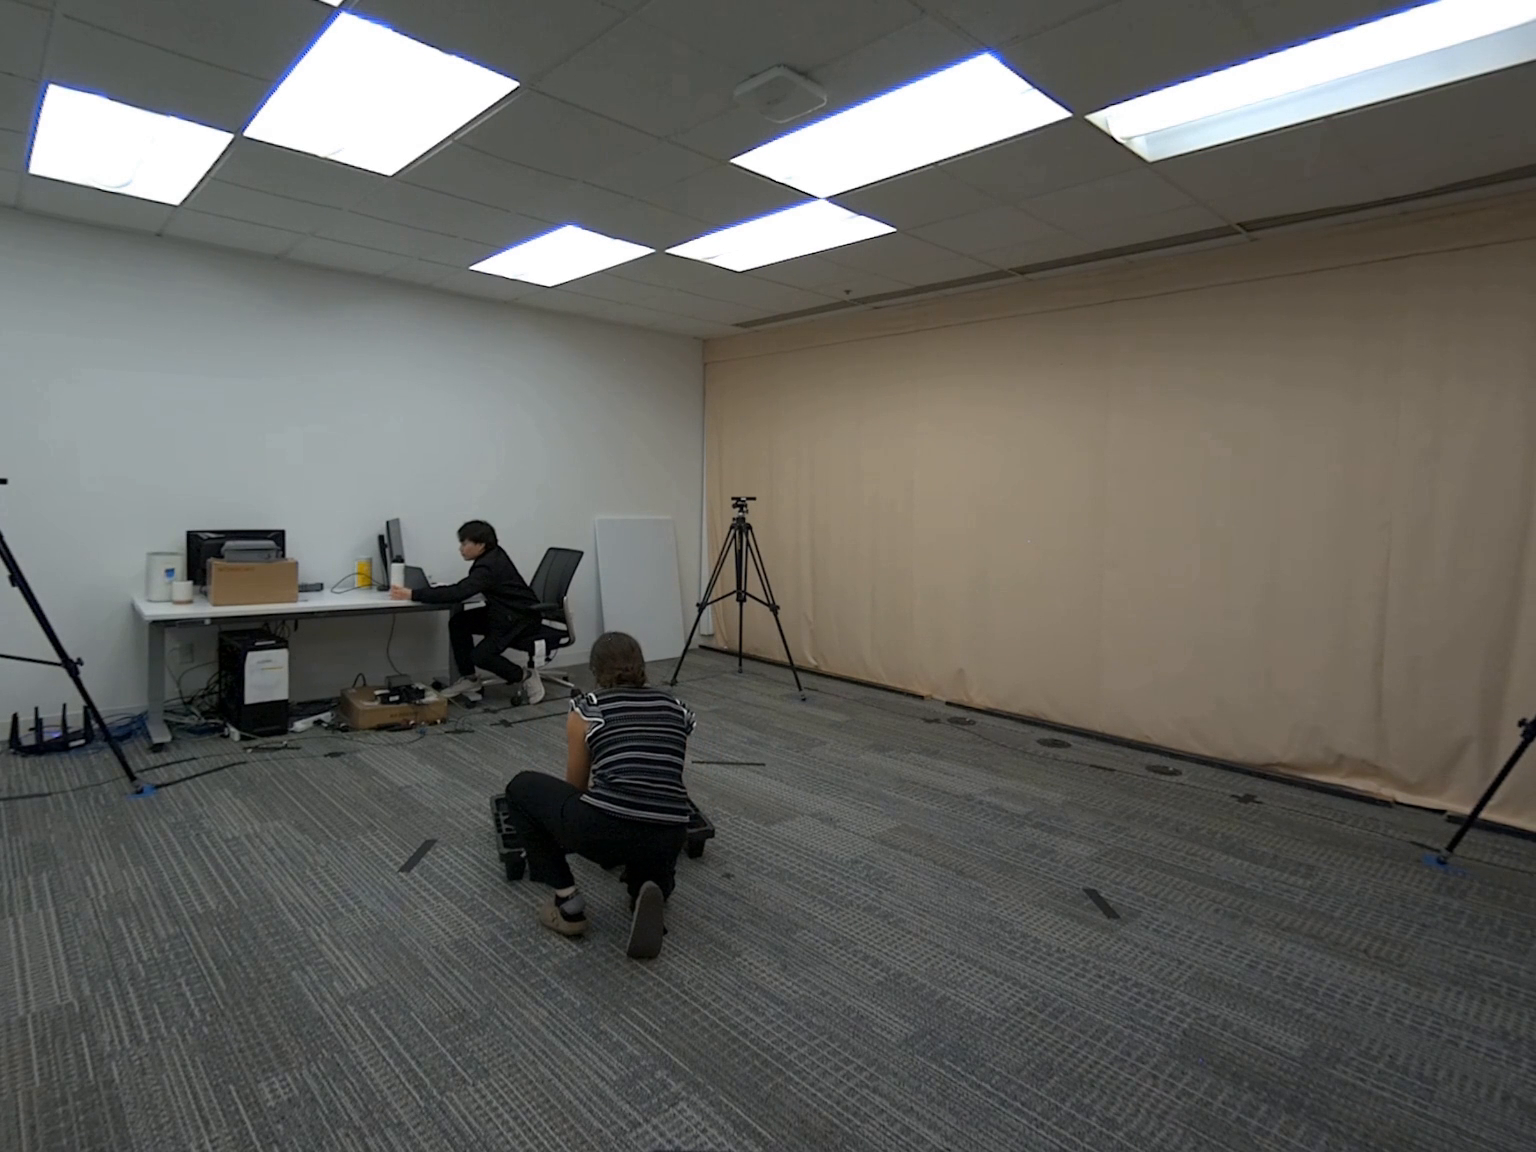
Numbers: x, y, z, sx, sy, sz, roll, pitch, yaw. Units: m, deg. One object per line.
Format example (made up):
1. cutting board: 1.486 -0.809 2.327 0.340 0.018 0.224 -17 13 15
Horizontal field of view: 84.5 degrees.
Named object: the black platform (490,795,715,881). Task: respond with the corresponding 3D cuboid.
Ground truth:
1. black platform: -0.689 1.010 3.359 0.793 0.143 0.616 0 4 -20
